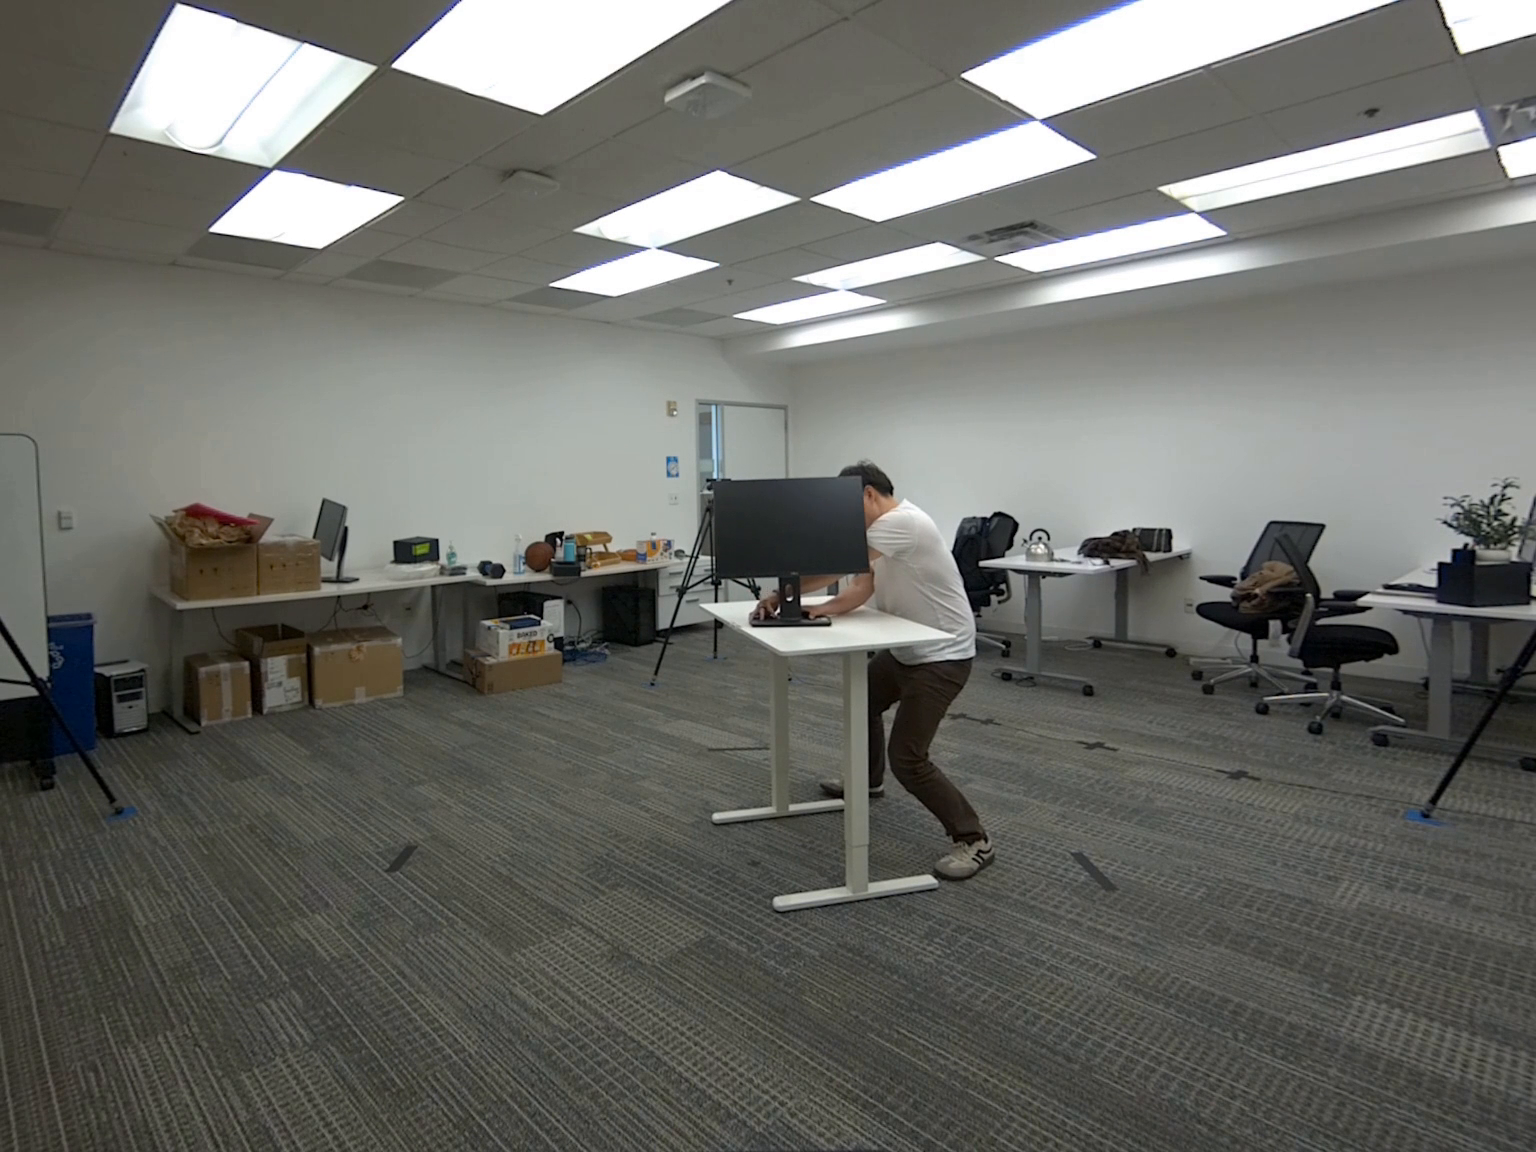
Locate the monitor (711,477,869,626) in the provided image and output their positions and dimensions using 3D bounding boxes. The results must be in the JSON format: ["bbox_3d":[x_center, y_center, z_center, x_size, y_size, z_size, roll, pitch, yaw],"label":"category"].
[{"bbox_3d":[0.082,-0.088,3.045,0.536,0.522,0.188,-2,2,-6],"label":"monitor"}]
